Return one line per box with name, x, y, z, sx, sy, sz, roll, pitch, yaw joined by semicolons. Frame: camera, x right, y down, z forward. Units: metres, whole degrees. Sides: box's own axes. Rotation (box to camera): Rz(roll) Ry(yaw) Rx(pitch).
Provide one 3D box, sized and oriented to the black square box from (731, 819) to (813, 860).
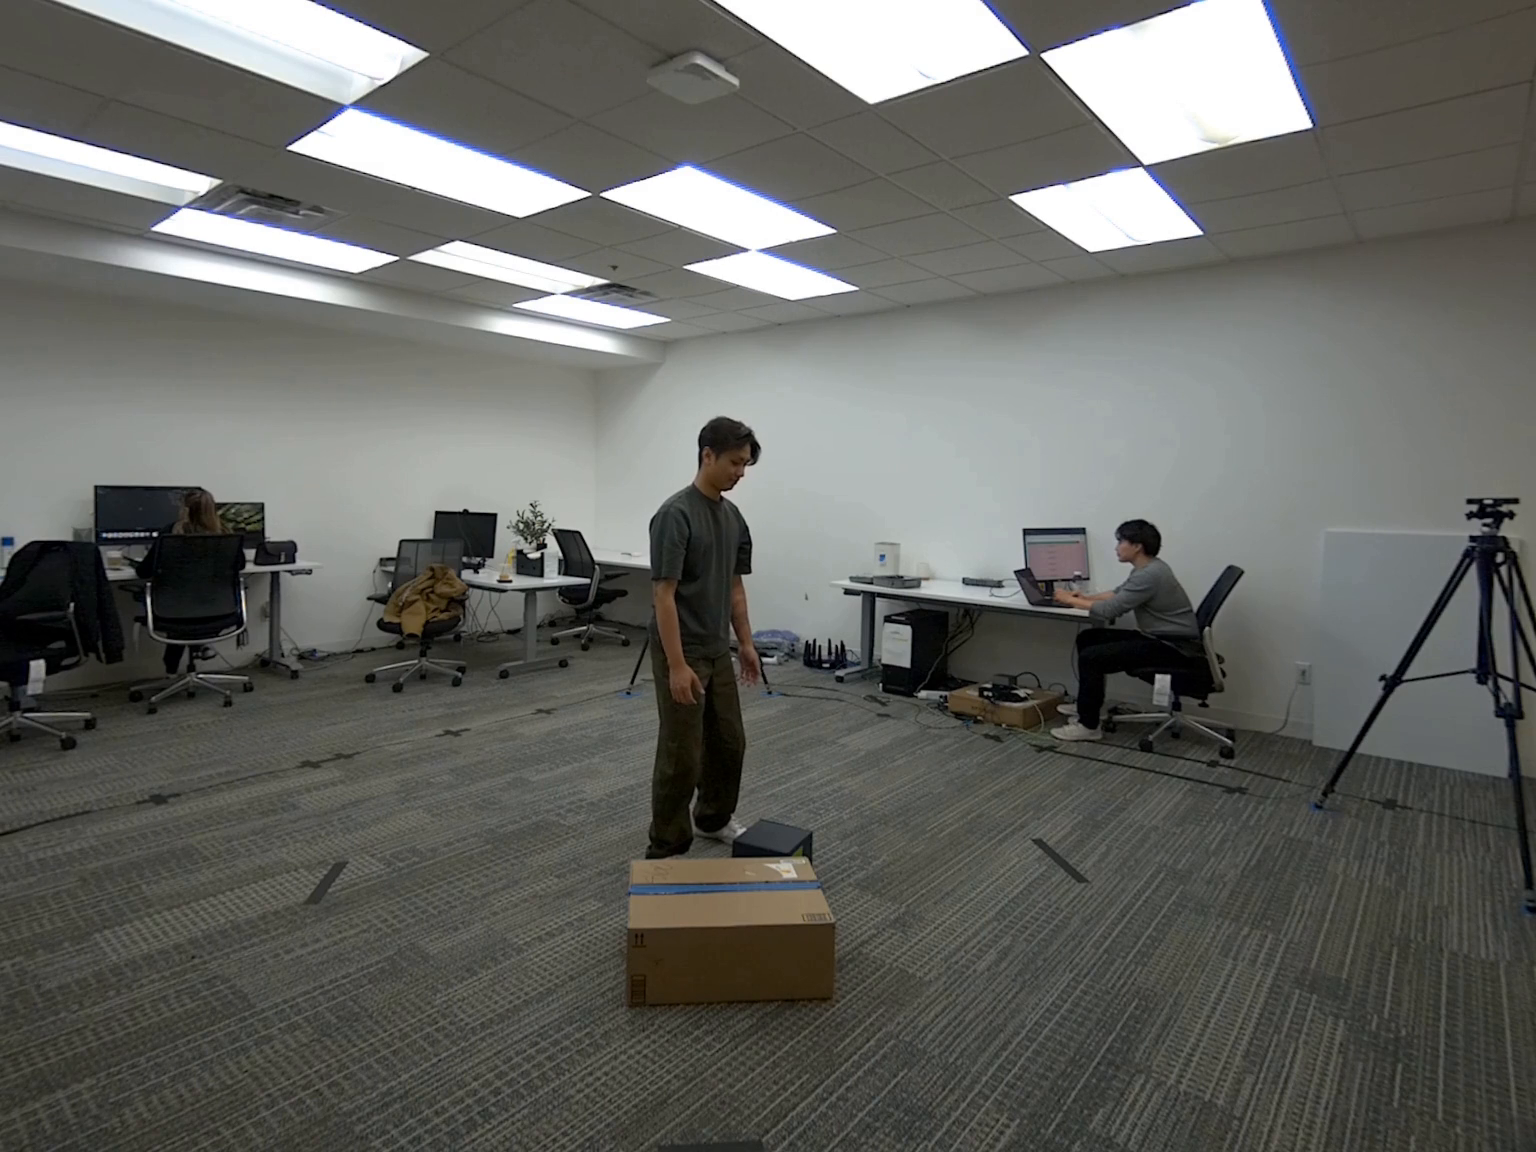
black square box;0.010;0.997;3.032;0.223;0.155;0.222;4;5;27
